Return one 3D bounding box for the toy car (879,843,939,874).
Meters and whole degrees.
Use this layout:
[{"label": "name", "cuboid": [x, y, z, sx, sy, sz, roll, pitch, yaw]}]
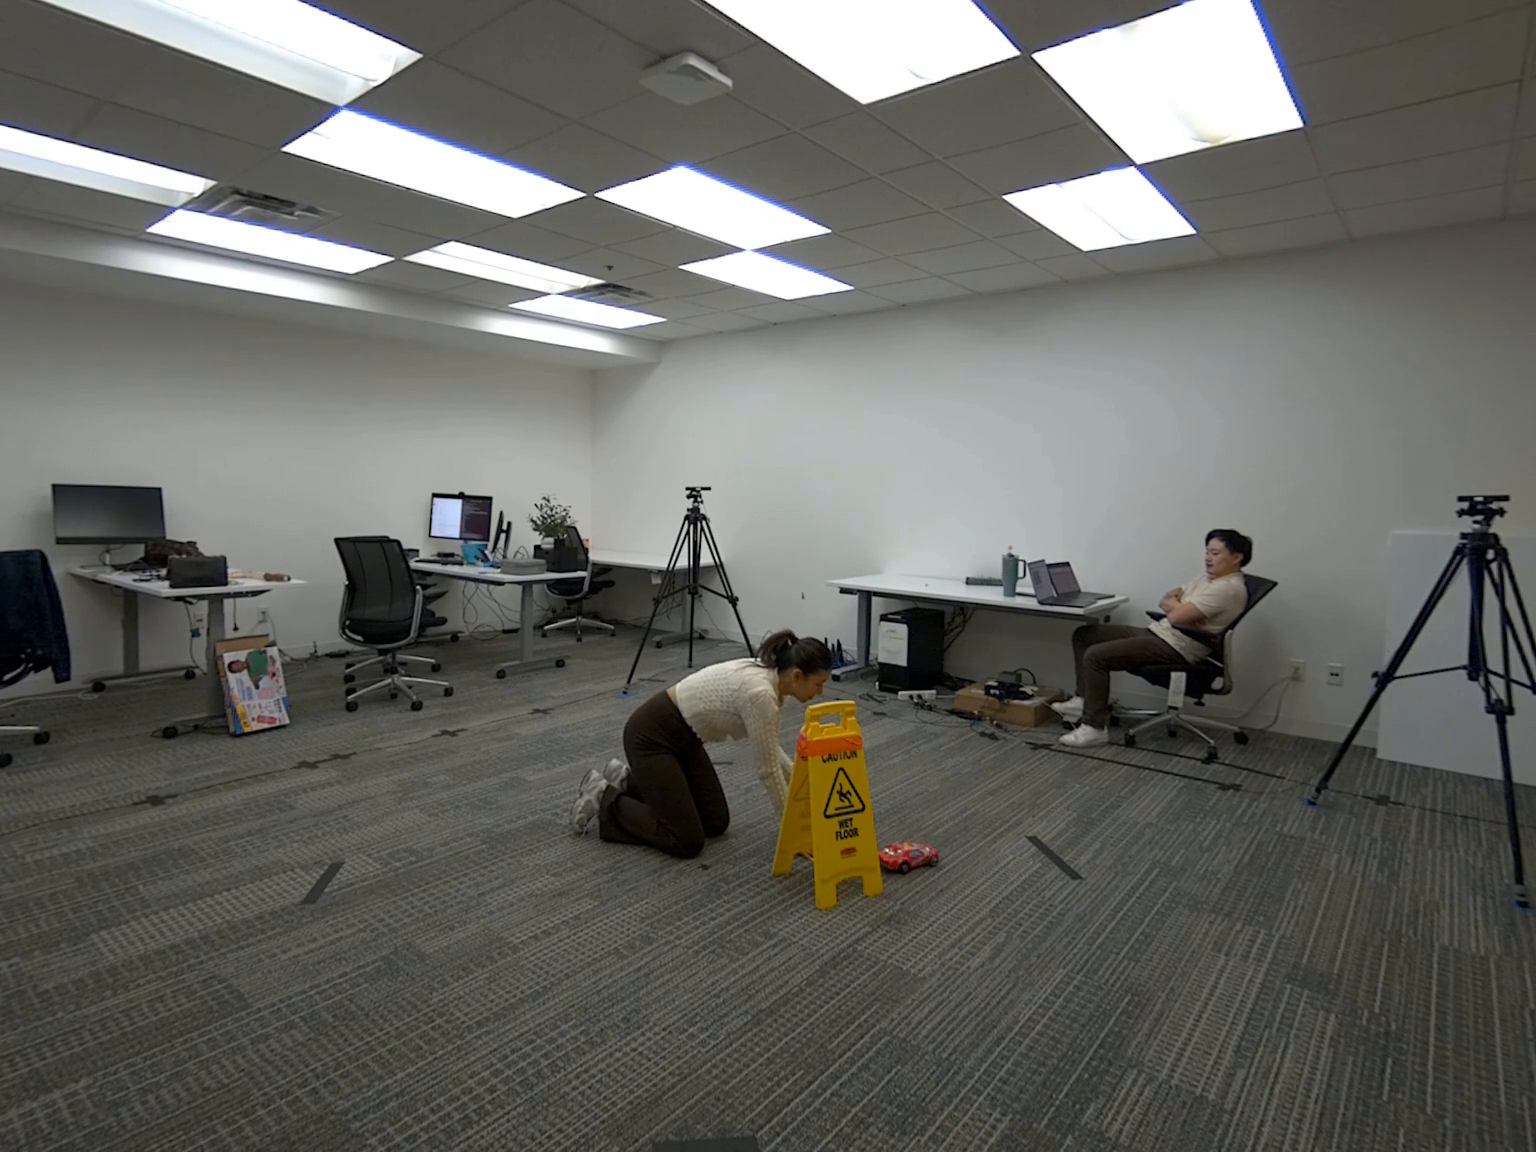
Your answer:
[{"label": "toy car", "cuboid": [0.504, 1.047, 3.164, 0.247, 0.083, 0.134, 11, 2, -29]}]
